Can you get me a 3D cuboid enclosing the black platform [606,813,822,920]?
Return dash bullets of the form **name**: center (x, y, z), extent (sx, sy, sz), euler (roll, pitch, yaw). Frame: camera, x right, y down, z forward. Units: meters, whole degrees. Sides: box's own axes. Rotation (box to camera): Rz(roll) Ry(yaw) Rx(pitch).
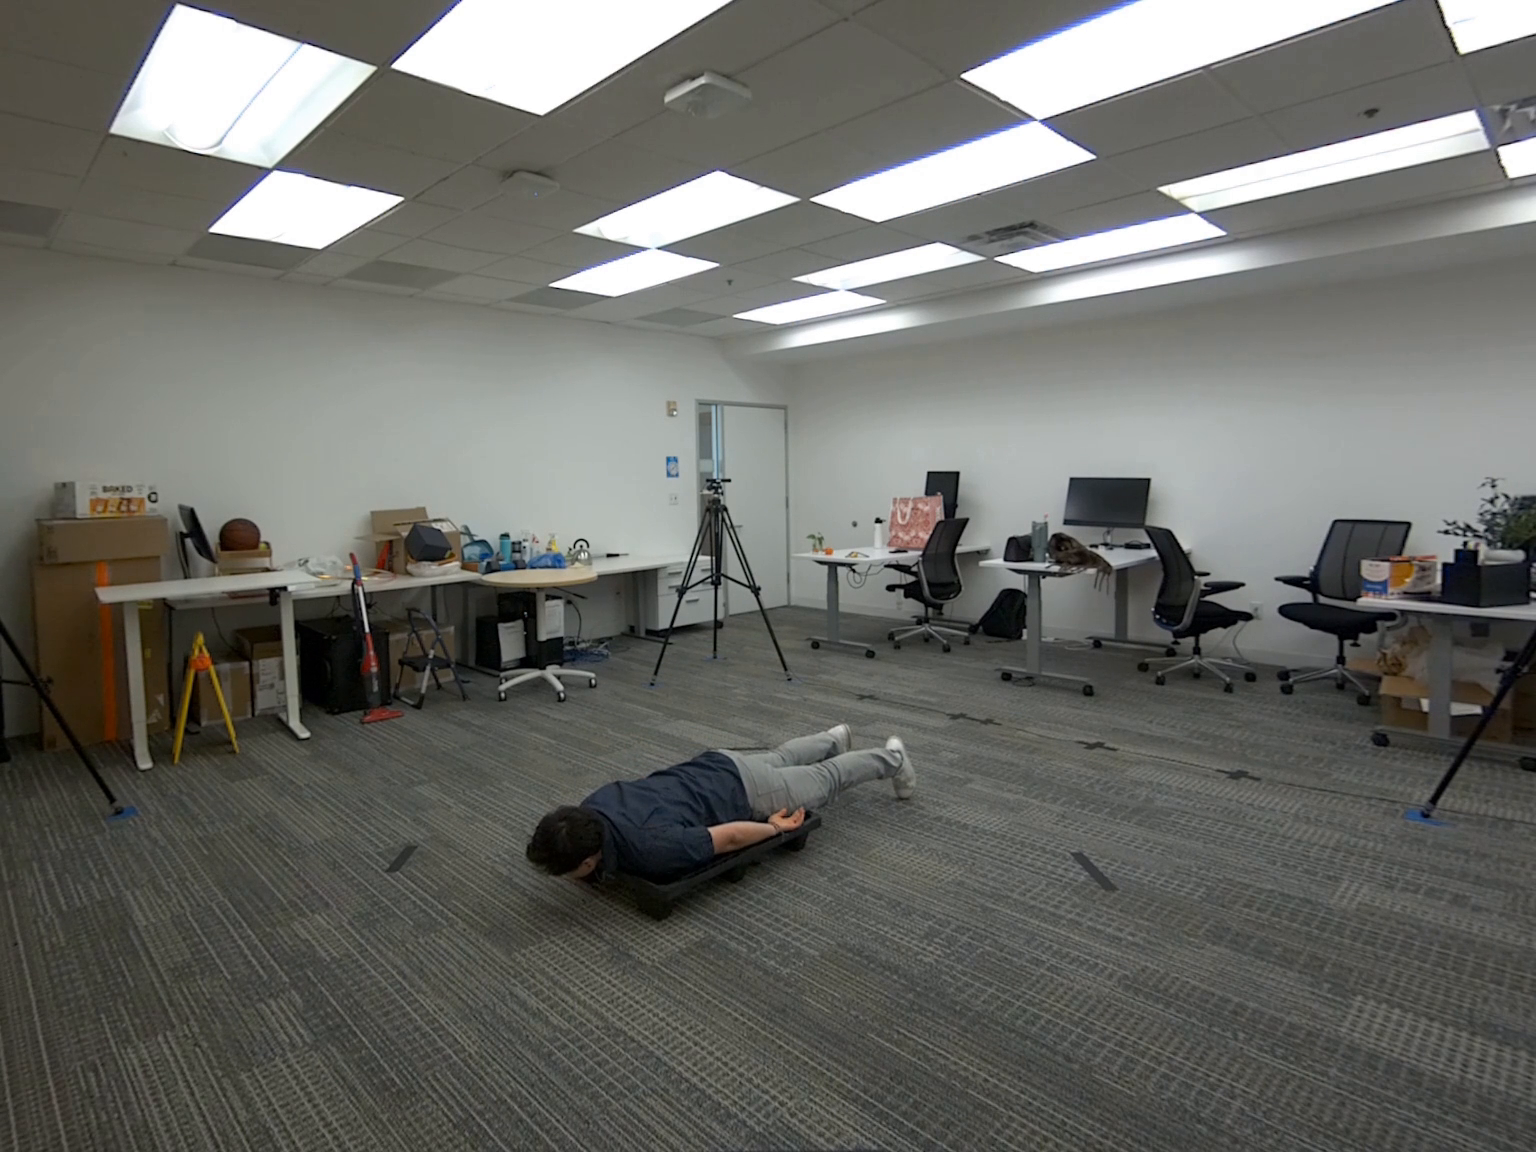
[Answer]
- **black platform**: center (-0.278, 0.984, 3.136), extent (0.624, 0.142, 0.785), euler (5, 9, 42)
